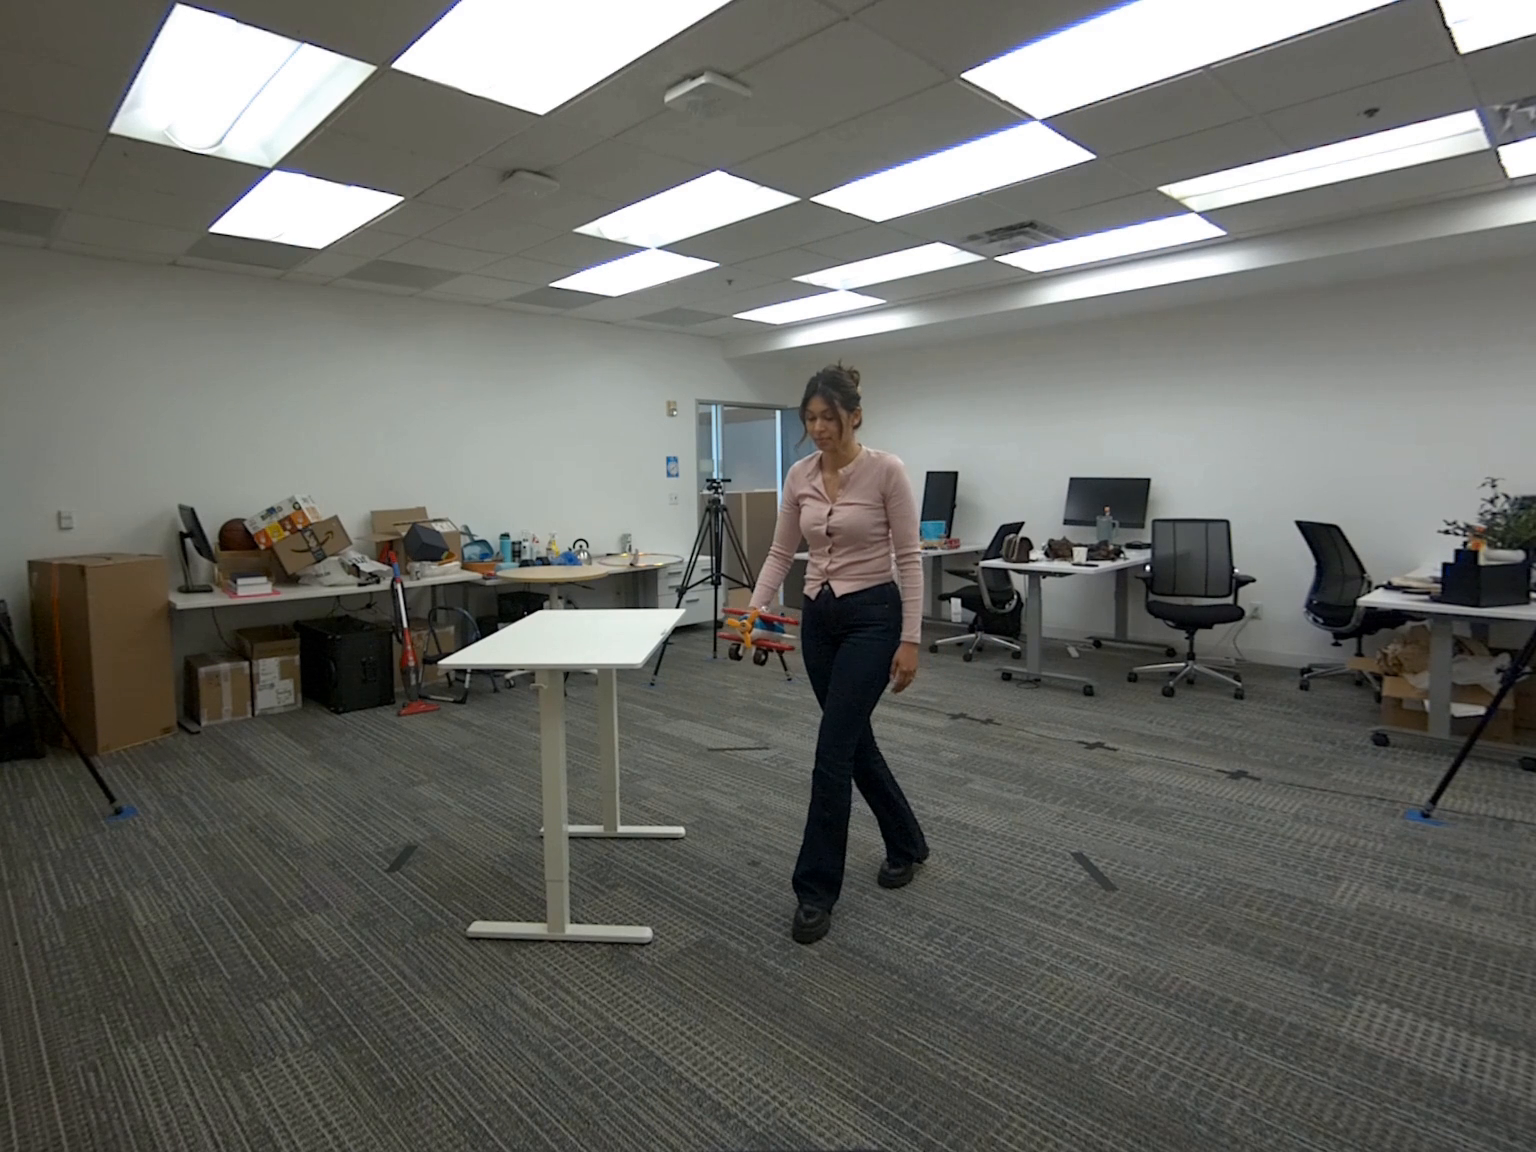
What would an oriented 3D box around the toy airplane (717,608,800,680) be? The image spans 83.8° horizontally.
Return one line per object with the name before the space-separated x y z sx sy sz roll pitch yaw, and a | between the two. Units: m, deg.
toy airplane | -0.032 0.178 2.650 0.252 0.155 0.260 4 8 2
